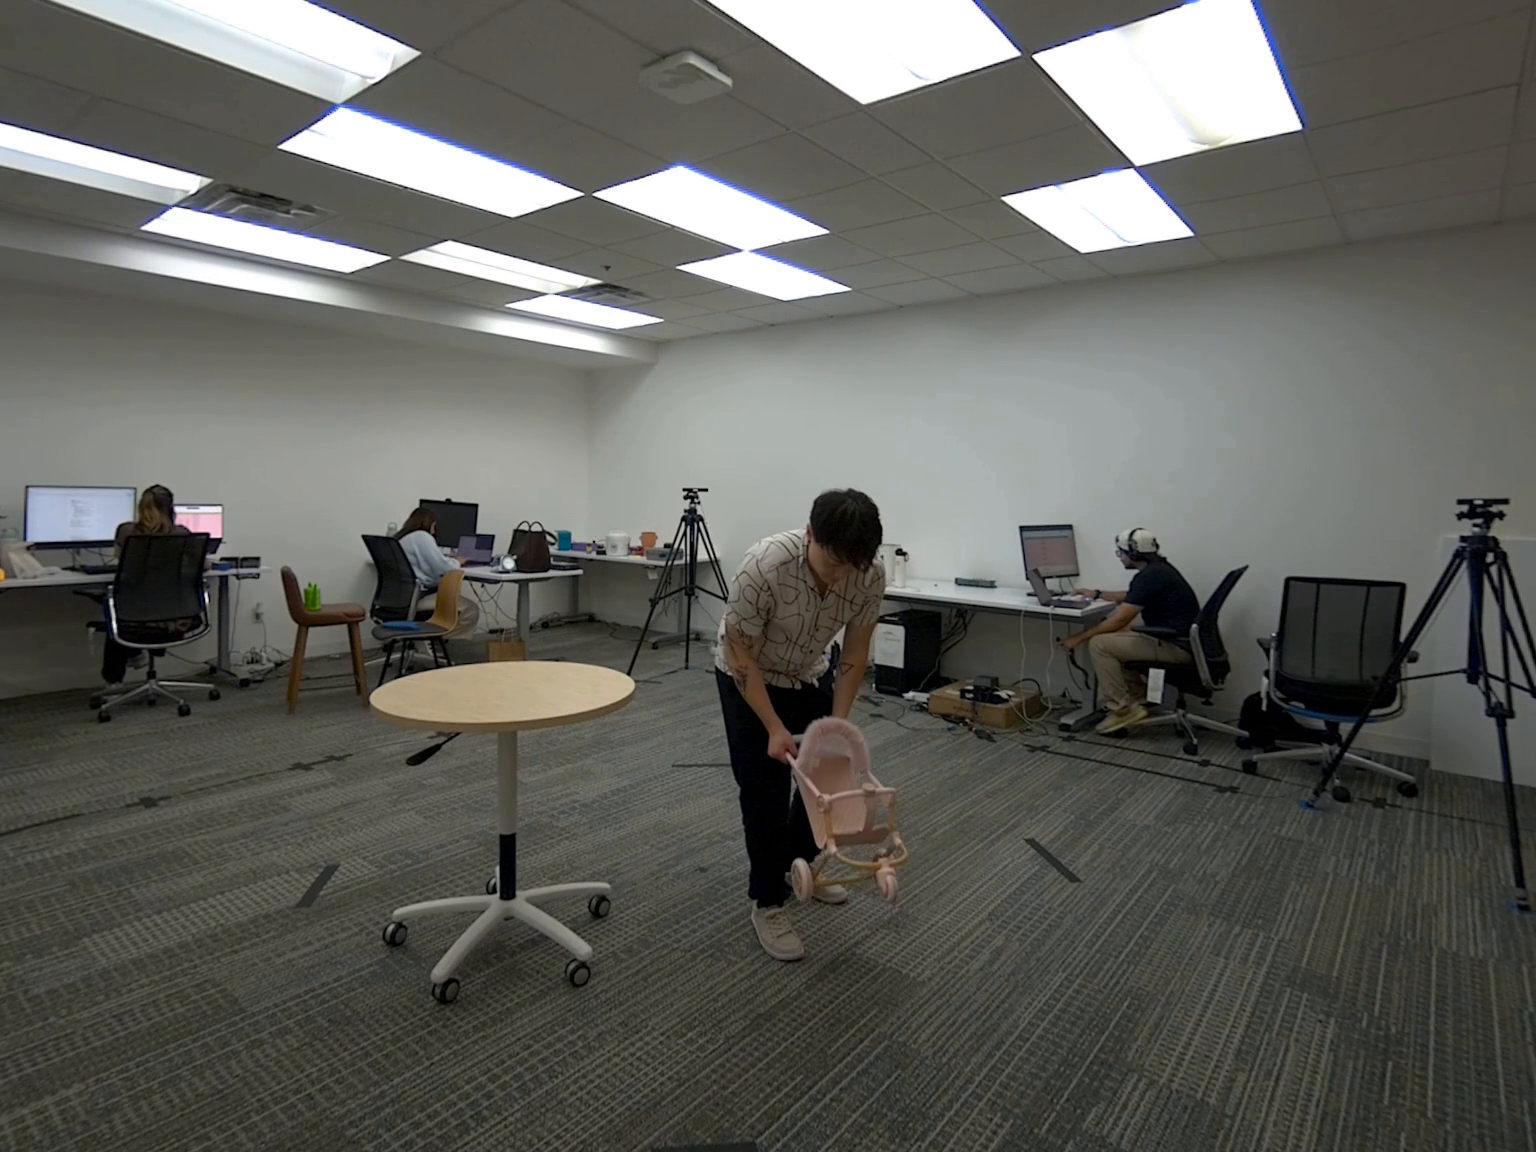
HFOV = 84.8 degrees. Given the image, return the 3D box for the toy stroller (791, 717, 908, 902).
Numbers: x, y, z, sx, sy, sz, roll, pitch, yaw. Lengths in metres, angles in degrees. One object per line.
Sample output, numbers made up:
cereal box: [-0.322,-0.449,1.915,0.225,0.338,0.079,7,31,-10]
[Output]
toy stroller: [0.201,0.624,2.291,0.277,0.551,0.336,-2,-32,-16]
